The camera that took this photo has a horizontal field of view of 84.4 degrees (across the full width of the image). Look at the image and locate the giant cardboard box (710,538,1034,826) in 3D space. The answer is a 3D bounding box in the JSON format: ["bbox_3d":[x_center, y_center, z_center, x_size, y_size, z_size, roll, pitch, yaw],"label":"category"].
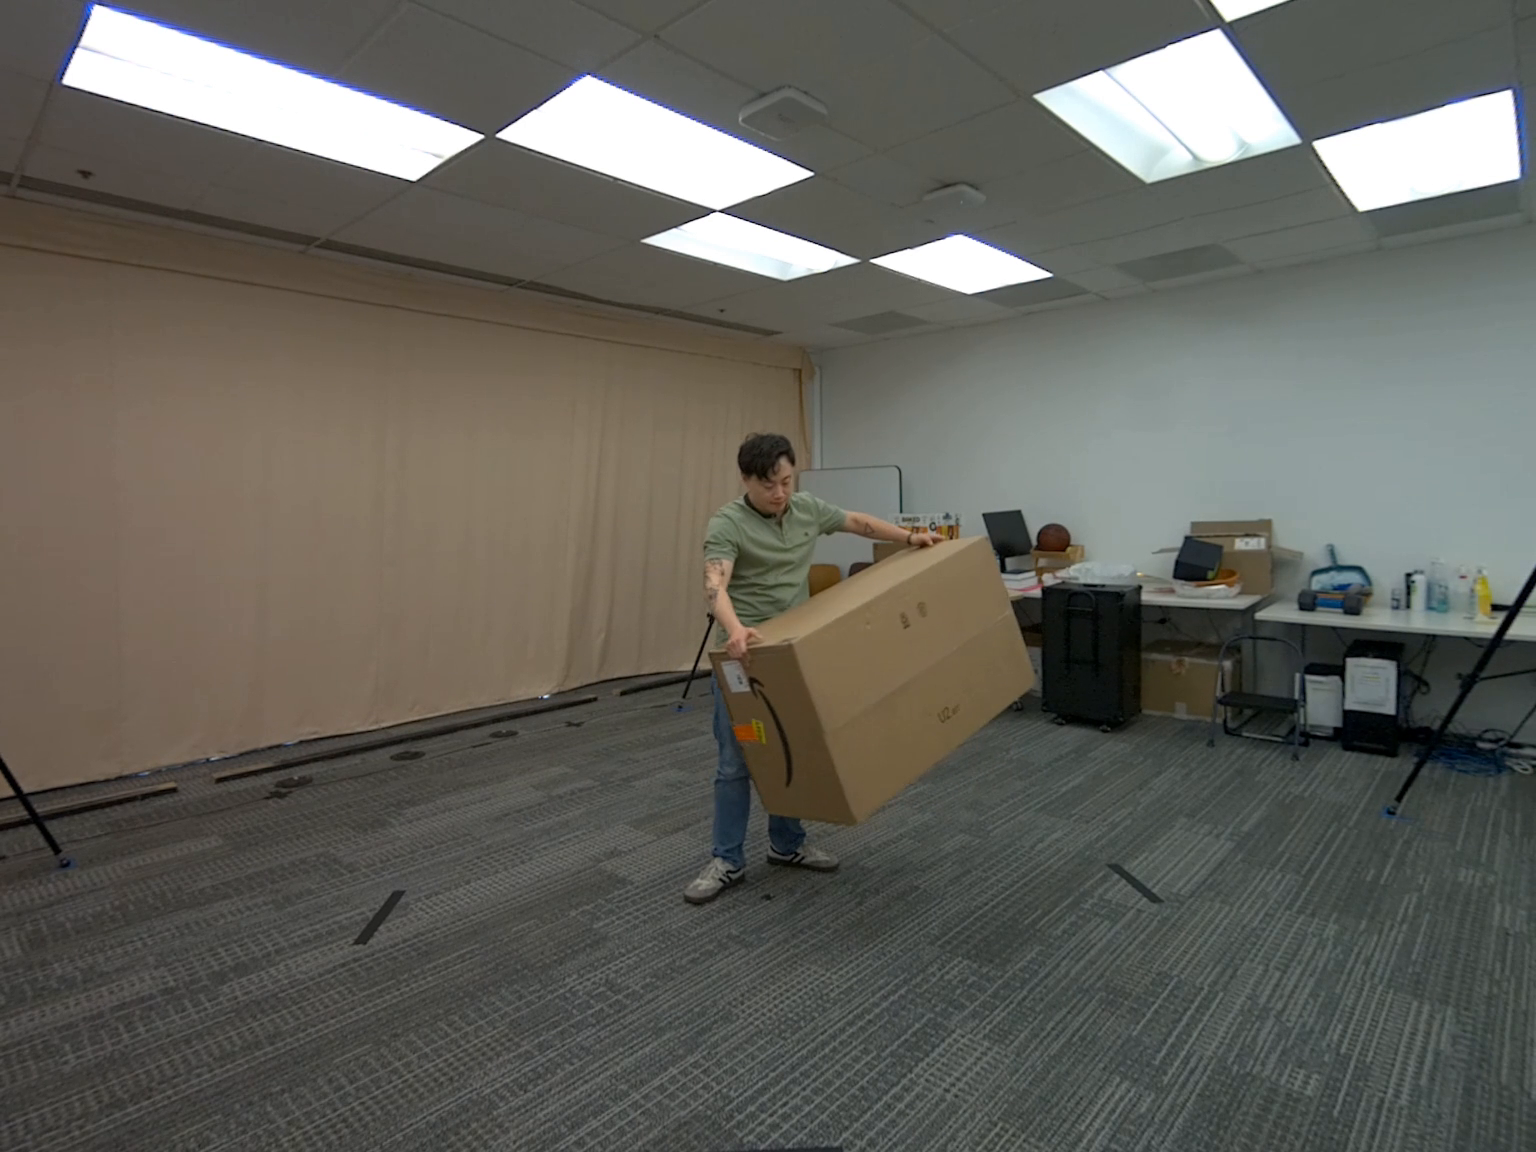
[{"bbox_3d":[0.383,0.324,2.885,1.004,0.575,0.437,-24,6,-36],"label":"giant cardboard box"}]
